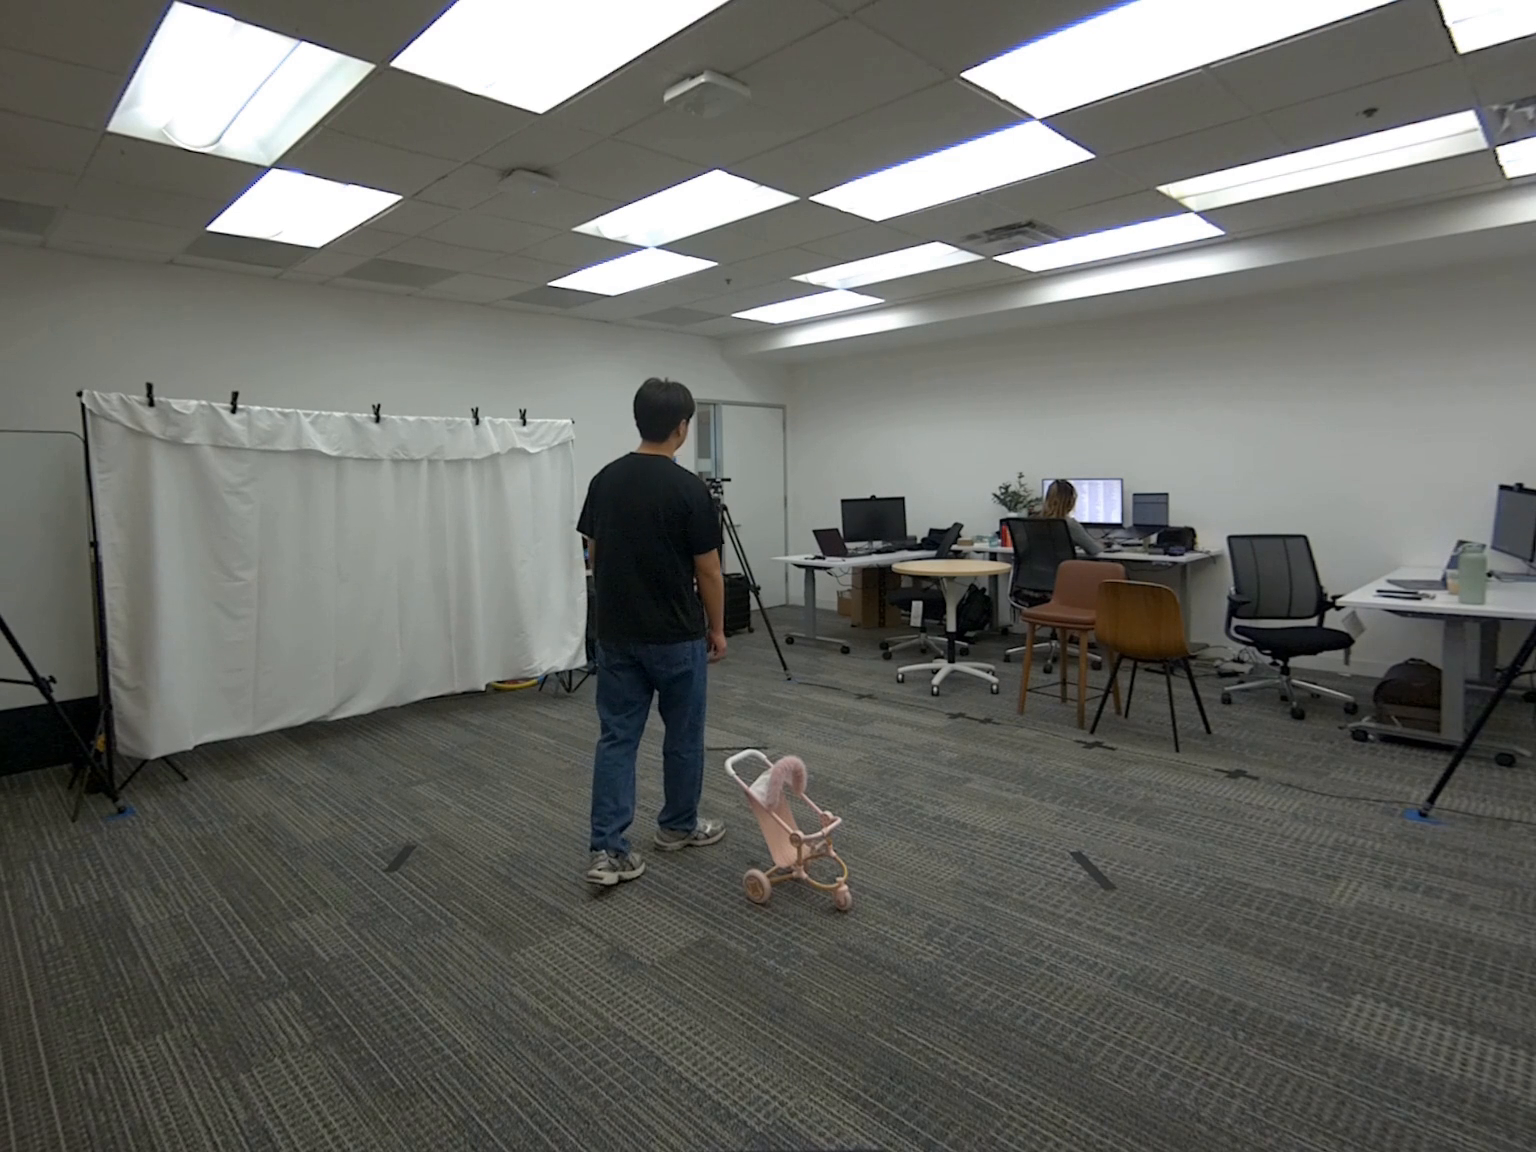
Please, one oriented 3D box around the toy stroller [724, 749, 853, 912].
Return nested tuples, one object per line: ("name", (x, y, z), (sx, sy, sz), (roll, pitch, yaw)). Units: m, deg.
("toy stroller", (0.086, 0.843, 2.856), (0.347, 0.539, 0.274), (-19, -7, 41))
